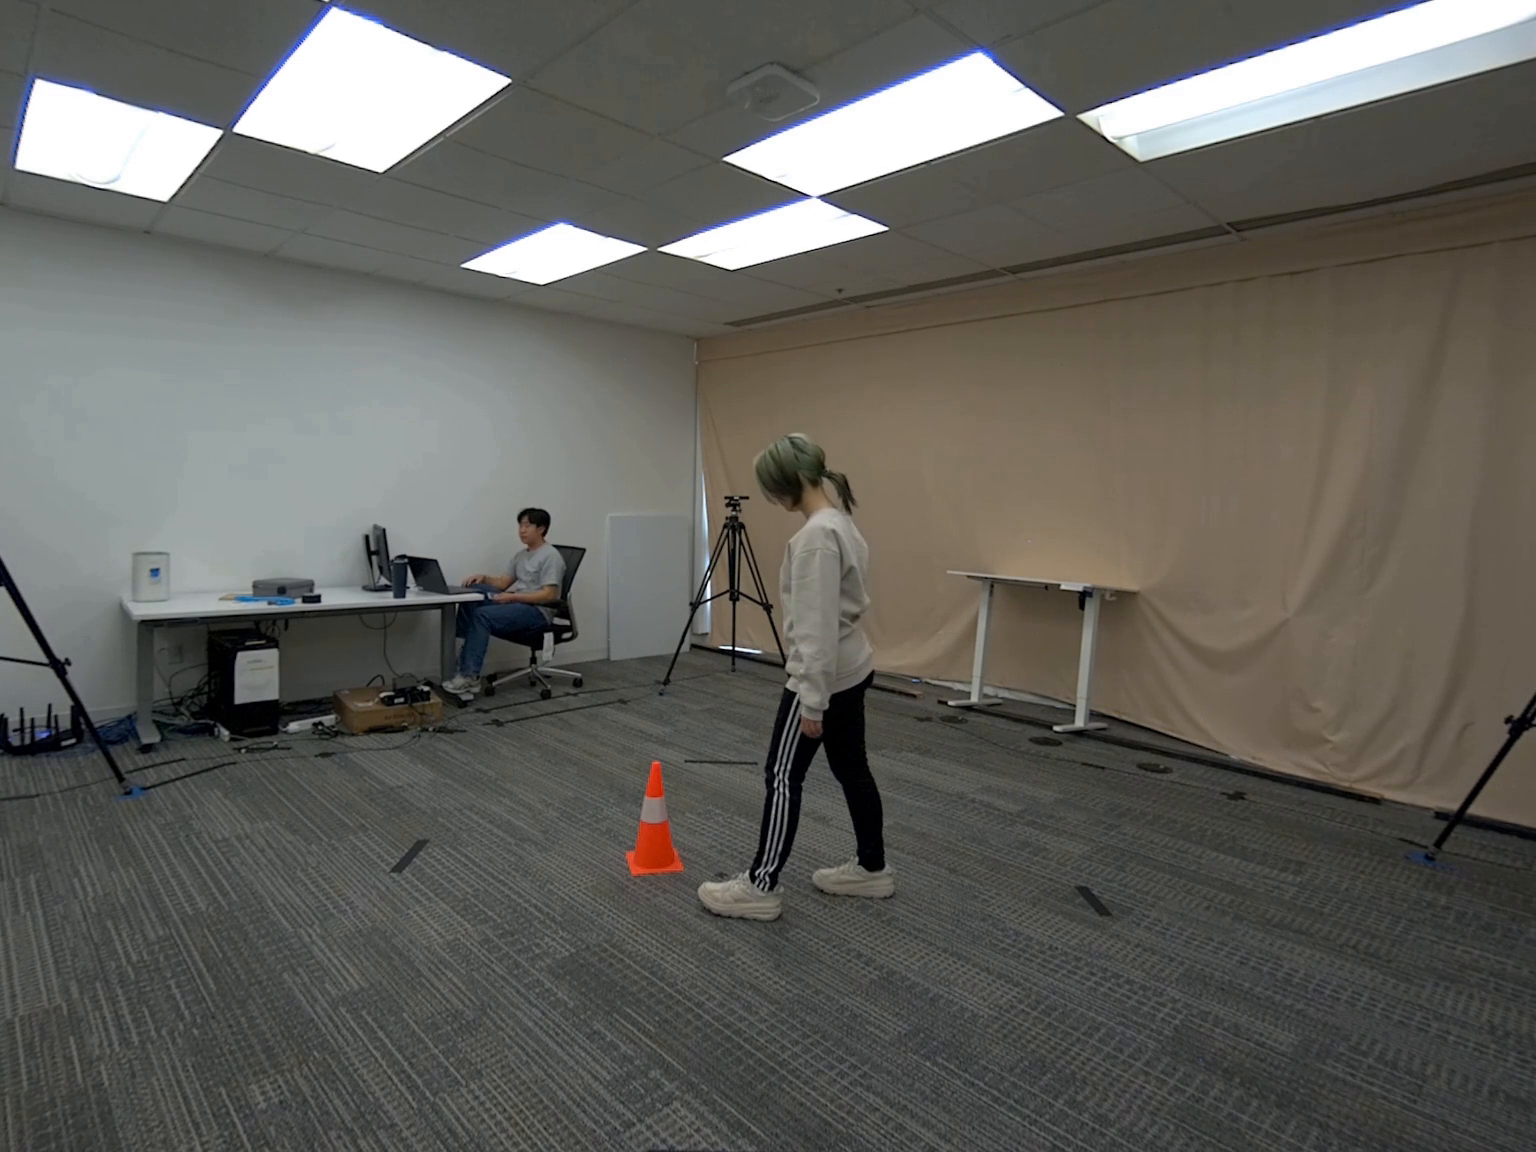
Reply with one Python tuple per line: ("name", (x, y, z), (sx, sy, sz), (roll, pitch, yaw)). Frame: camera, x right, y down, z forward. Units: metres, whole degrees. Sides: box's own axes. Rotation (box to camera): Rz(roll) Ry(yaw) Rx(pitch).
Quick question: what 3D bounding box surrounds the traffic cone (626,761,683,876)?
("traffic cone", (-0.443, 0.903, 3.201), (0.203, 0.383, 0.205), (1, 1, -11))
